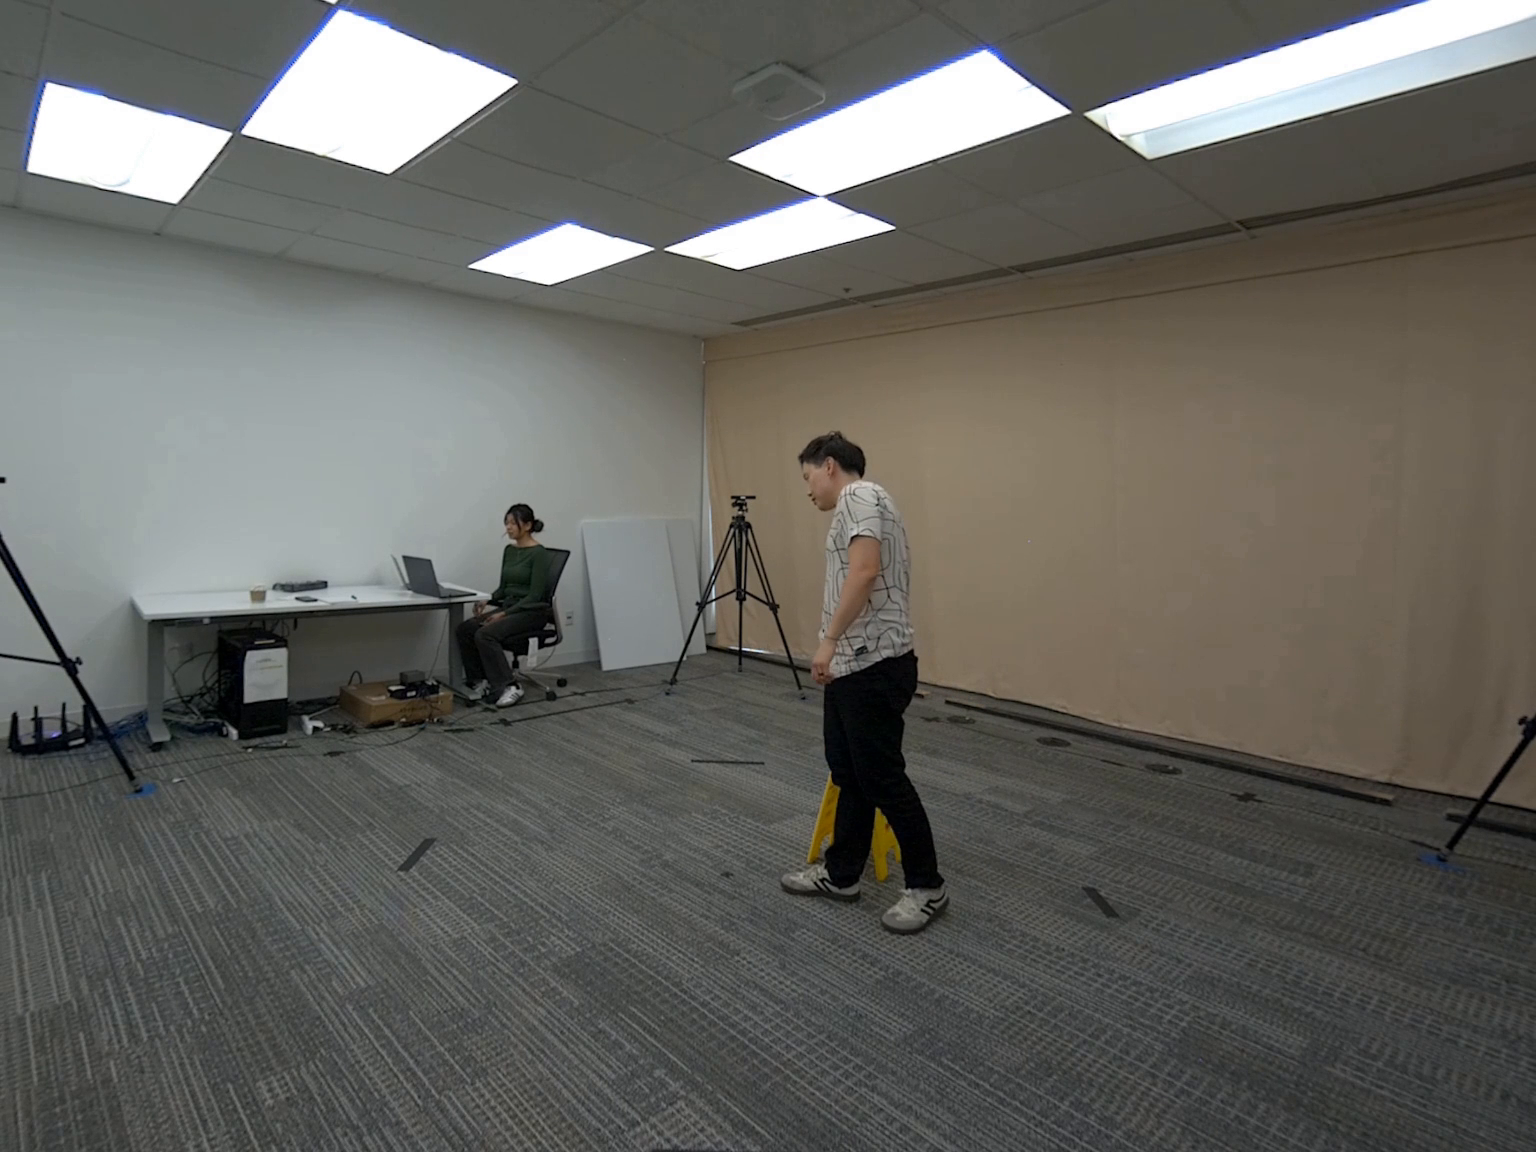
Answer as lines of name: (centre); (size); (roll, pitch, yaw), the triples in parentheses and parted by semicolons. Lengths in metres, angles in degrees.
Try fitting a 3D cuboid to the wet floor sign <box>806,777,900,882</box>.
wet floor sign: (0.342, 0.779, 3.240); (0.296, 0.645, 0.277); (2, 3, 29)
